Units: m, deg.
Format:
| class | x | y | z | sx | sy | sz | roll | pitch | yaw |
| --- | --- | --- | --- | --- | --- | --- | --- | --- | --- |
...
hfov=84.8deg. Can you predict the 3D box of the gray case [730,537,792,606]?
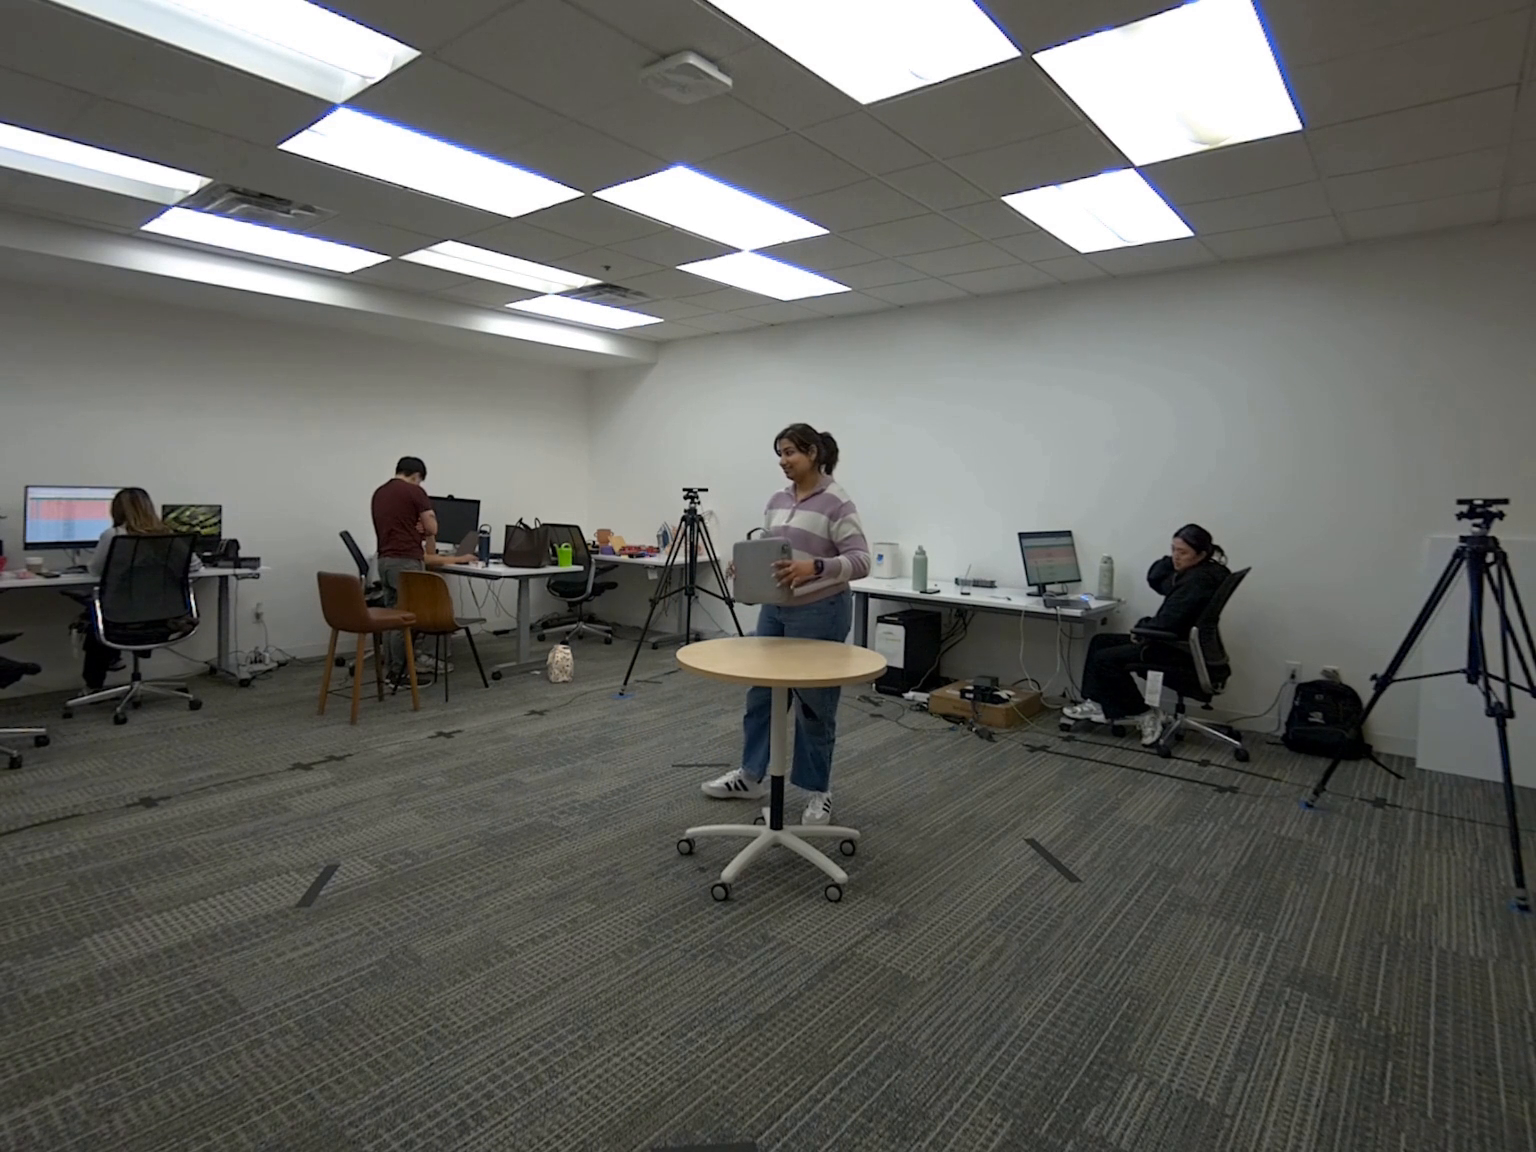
| class | x | y | z | sx | sy | sz | roll | pitch | yaw |
| --- | --- | --- | --- | --- | --- | --- | --- | --- | --- |
| gray case | -0.025 | -0.025 | 3.358 | 0.101 | 0.262 | 0.264 | 1 | -4 | -41 |
